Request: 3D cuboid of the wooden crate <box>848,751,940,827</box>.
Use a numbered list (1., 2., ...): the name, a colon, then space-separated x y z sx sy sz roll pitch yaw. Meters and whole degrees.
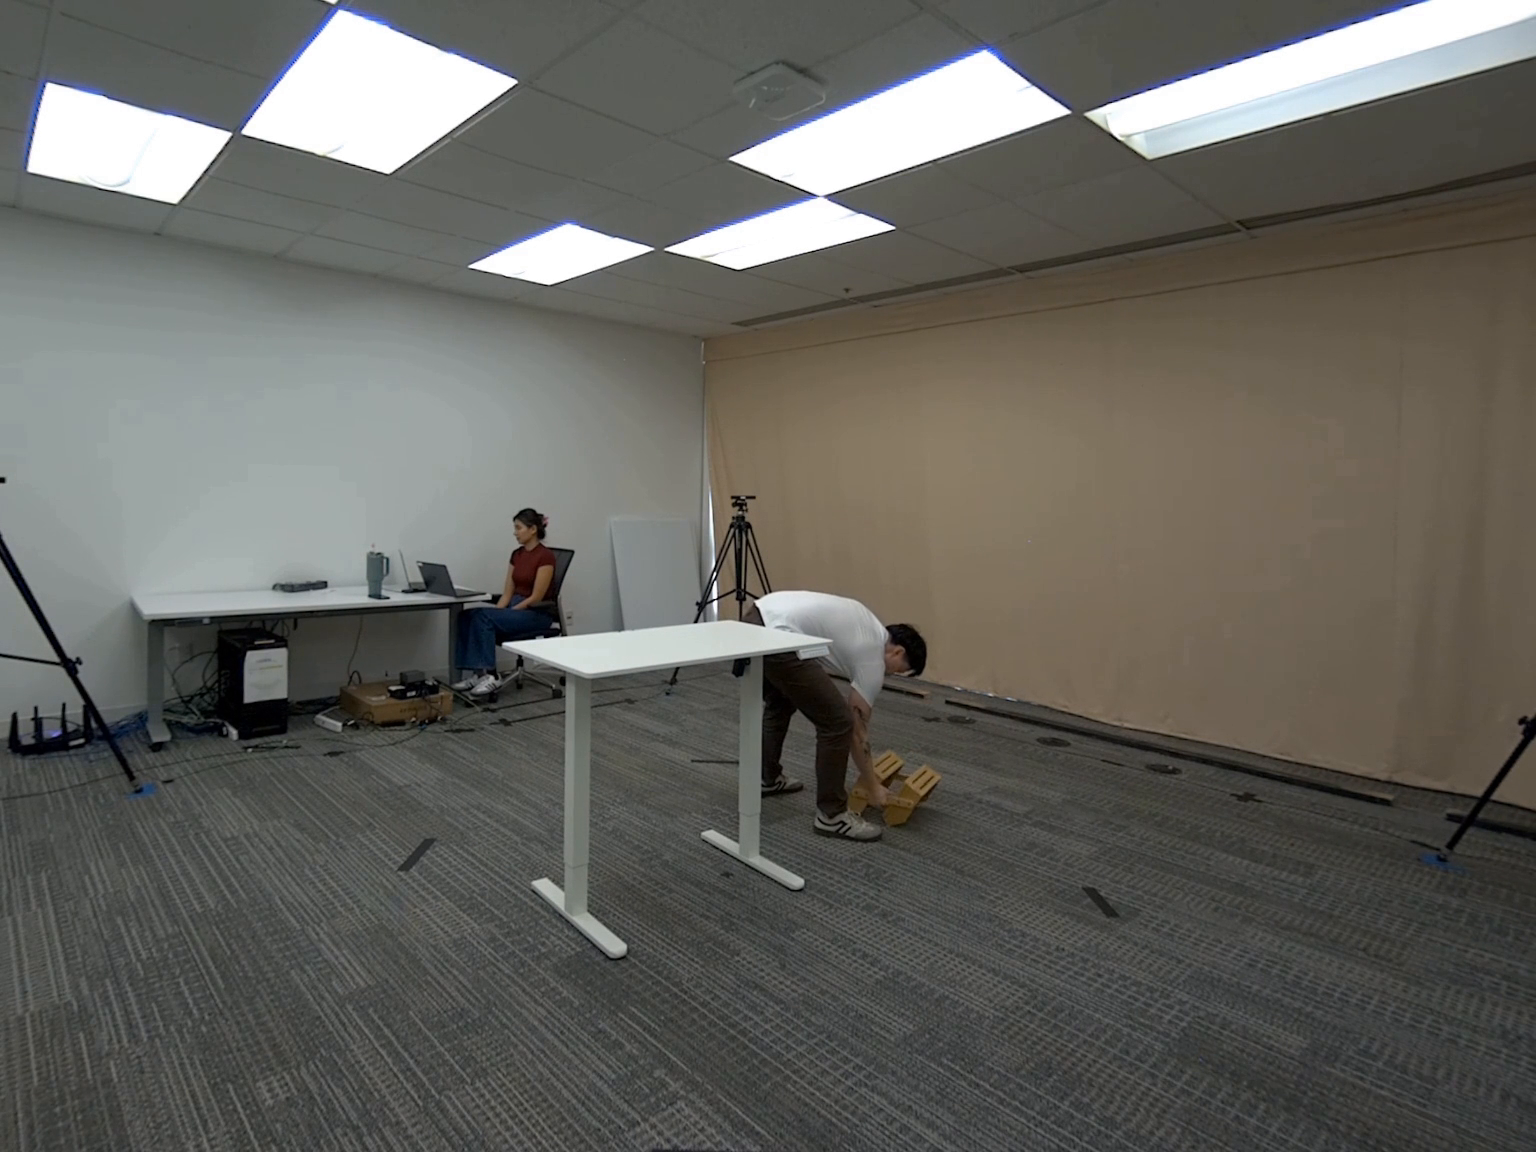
1. wooden crate: 0.541 0.967 3.760 0.280 0.300 0.318 34 18 24
